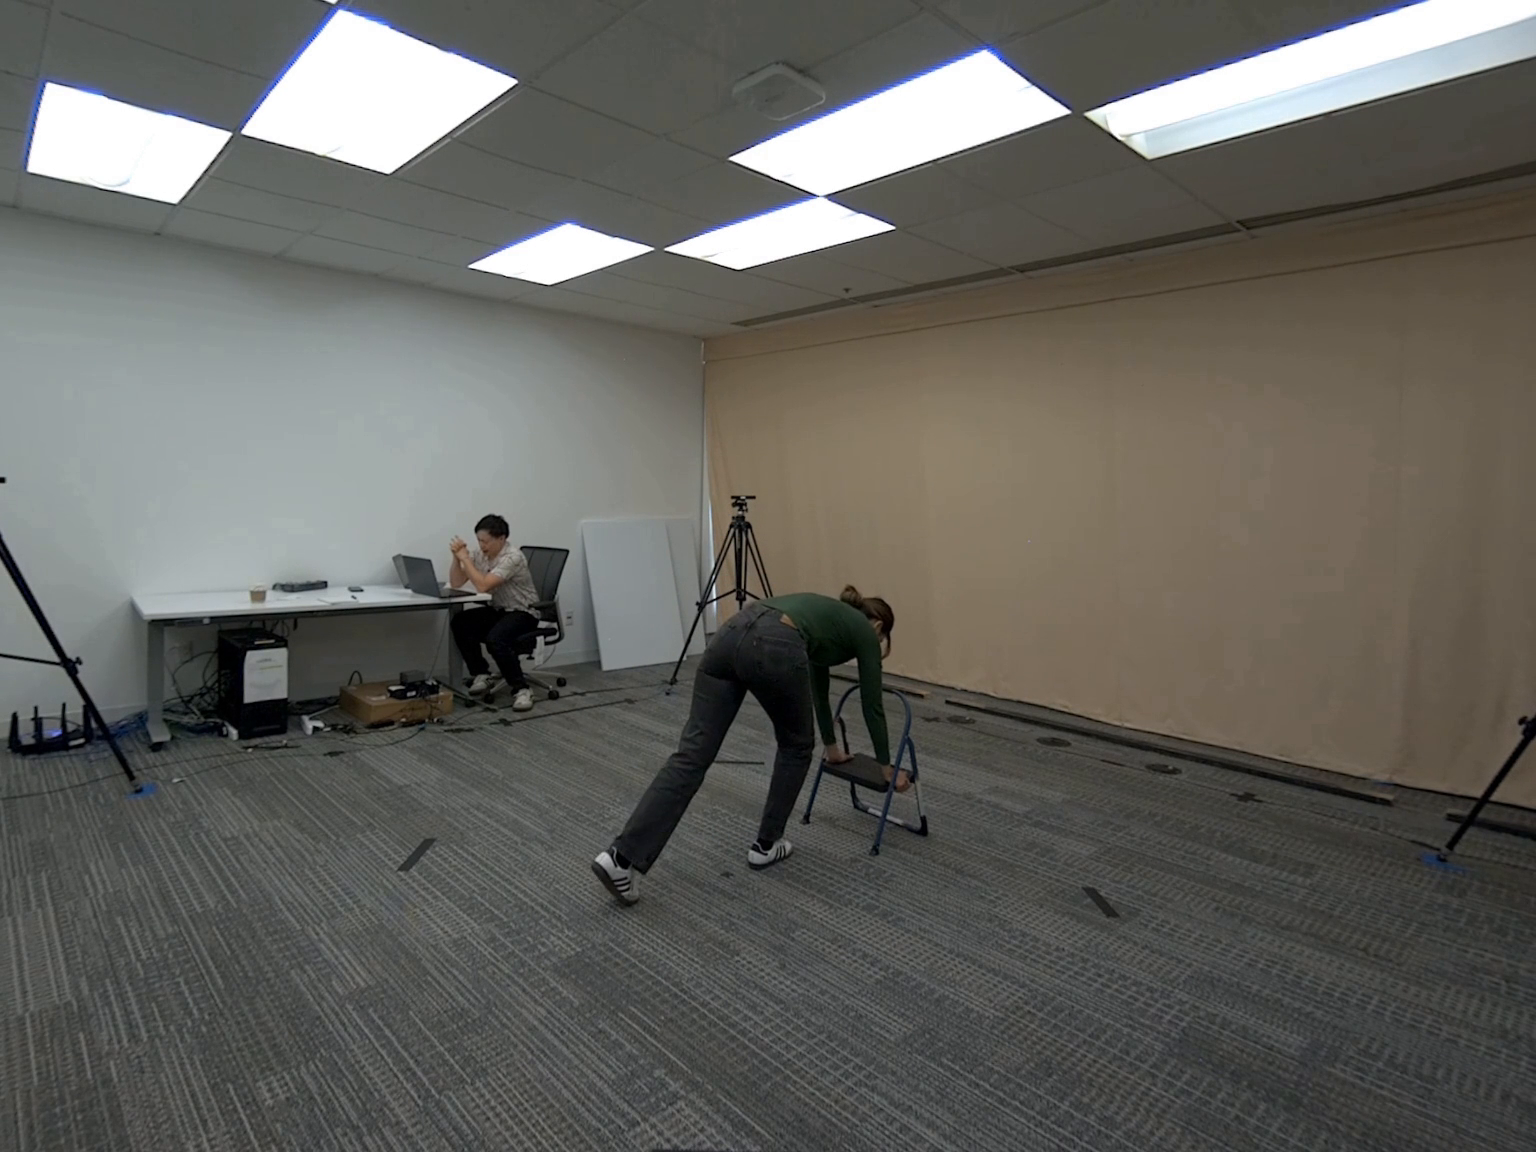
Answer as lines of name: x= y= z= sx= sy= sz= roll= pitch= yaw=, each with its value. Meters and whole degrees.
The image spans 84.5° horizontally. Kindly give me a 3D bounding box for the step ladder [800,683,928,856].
step ladder: x=0.408 y=0.776 z=3.555 sx=0.341 sy=0.605 sz=0.441 roll=-1 pitch=4 yaw=-40
